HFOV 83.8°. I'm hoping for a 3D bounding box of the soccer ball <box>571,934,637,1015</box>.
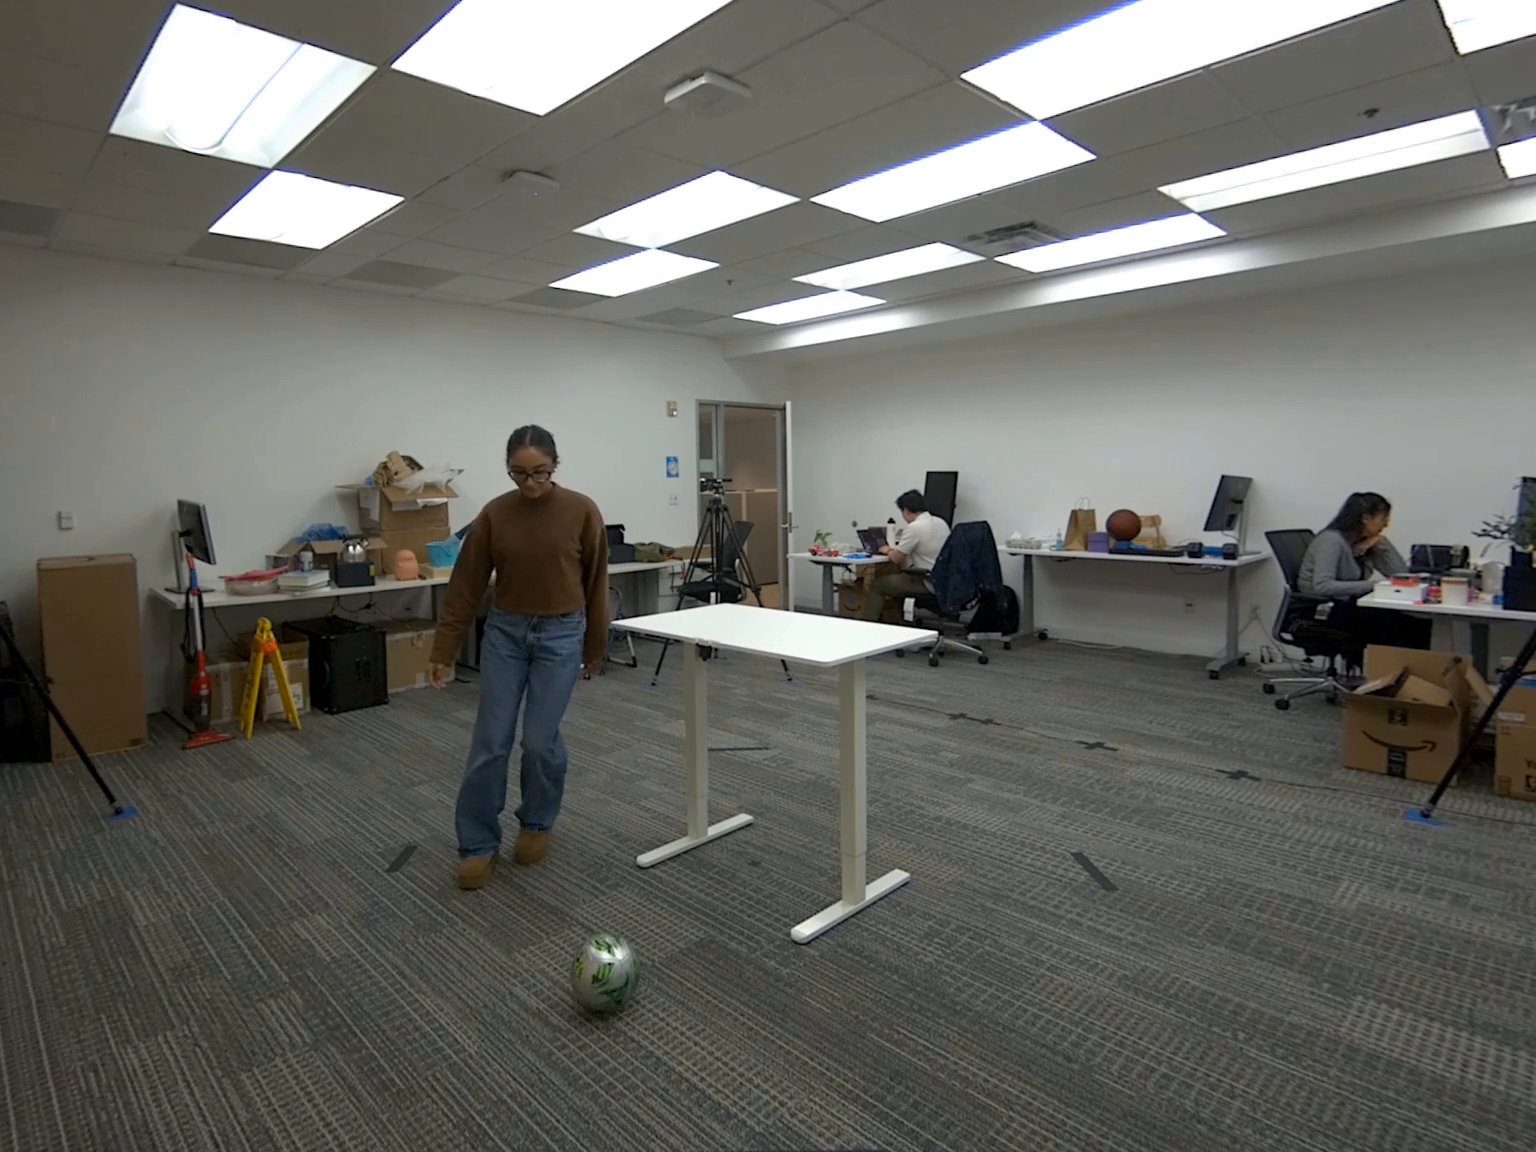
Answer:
[{"bbox_3d":[-0.425,1.058,2.279,0.187,0.187,0.188,-1,5,-2],"label":"soccer ball"}]
